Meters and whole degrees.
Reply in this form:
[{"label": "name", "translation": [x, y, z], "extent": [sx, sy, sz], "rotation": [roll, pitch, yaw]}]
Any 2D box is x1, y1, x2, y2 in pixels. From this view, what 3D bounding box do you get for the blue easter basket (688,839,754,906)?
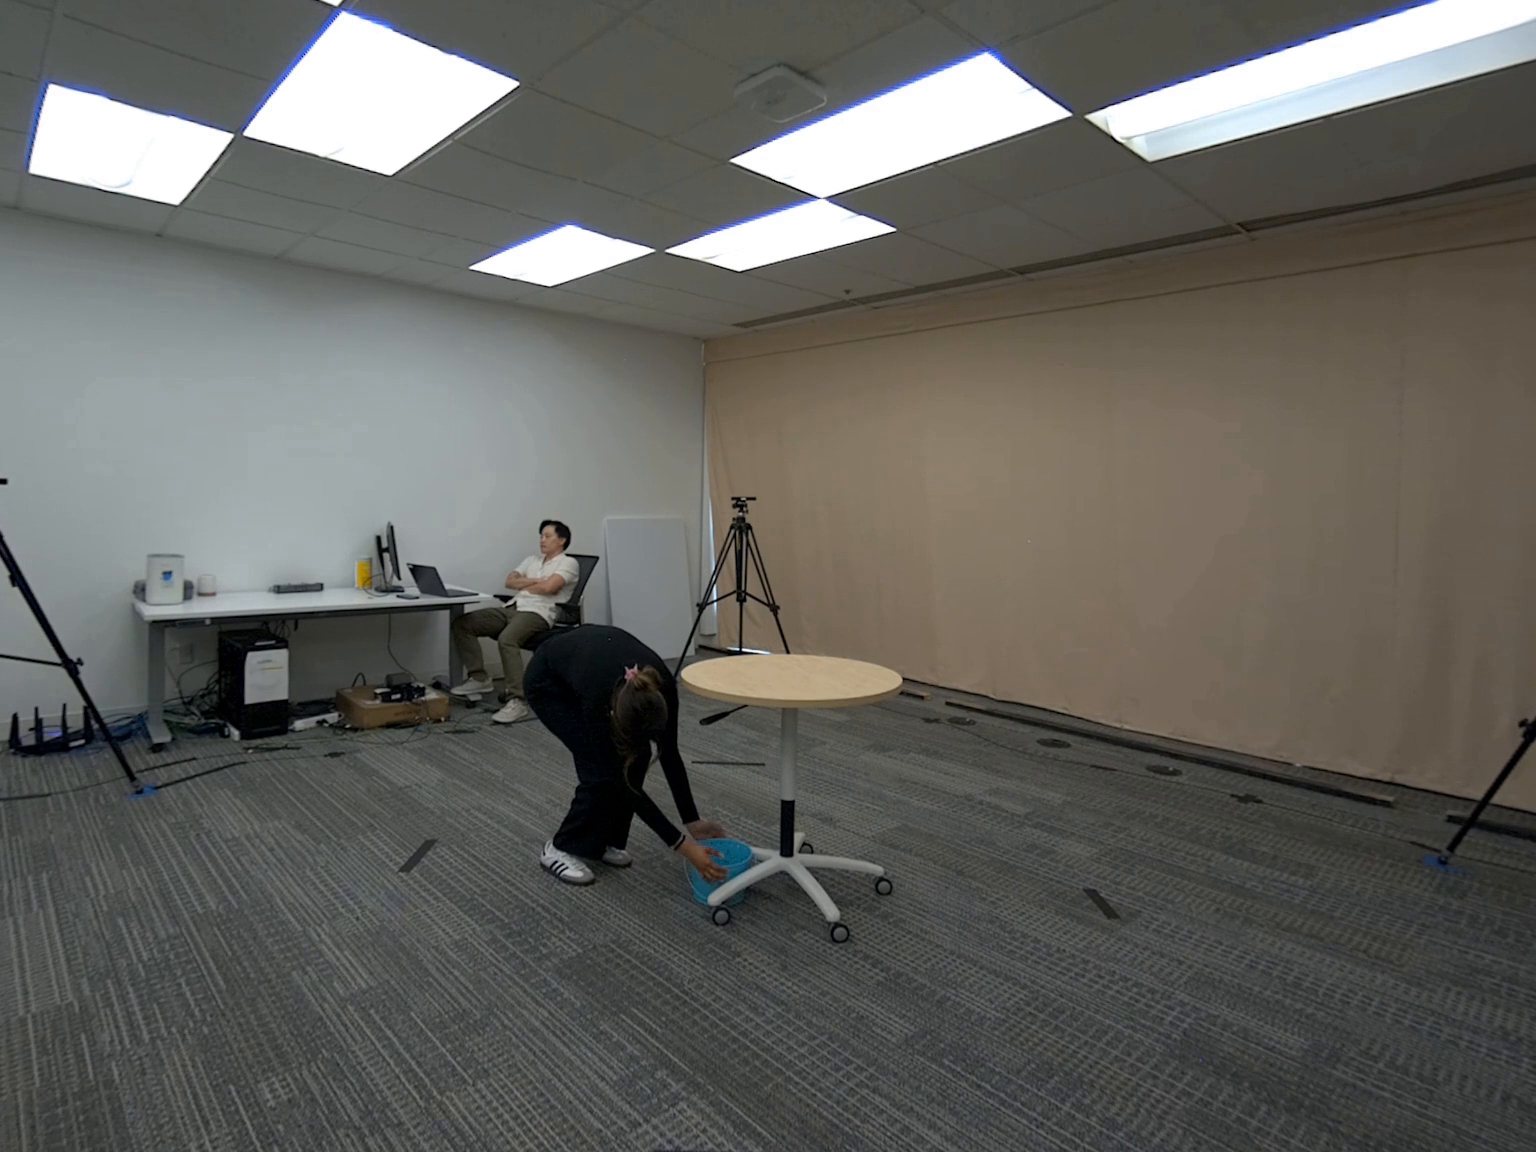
[{"label": "blue easter basket", "translation": [-0.179, 1.047, 2.945], "extent": [0.243, 0.155, 0.244], "rotation": [1, 4, -1]}]
